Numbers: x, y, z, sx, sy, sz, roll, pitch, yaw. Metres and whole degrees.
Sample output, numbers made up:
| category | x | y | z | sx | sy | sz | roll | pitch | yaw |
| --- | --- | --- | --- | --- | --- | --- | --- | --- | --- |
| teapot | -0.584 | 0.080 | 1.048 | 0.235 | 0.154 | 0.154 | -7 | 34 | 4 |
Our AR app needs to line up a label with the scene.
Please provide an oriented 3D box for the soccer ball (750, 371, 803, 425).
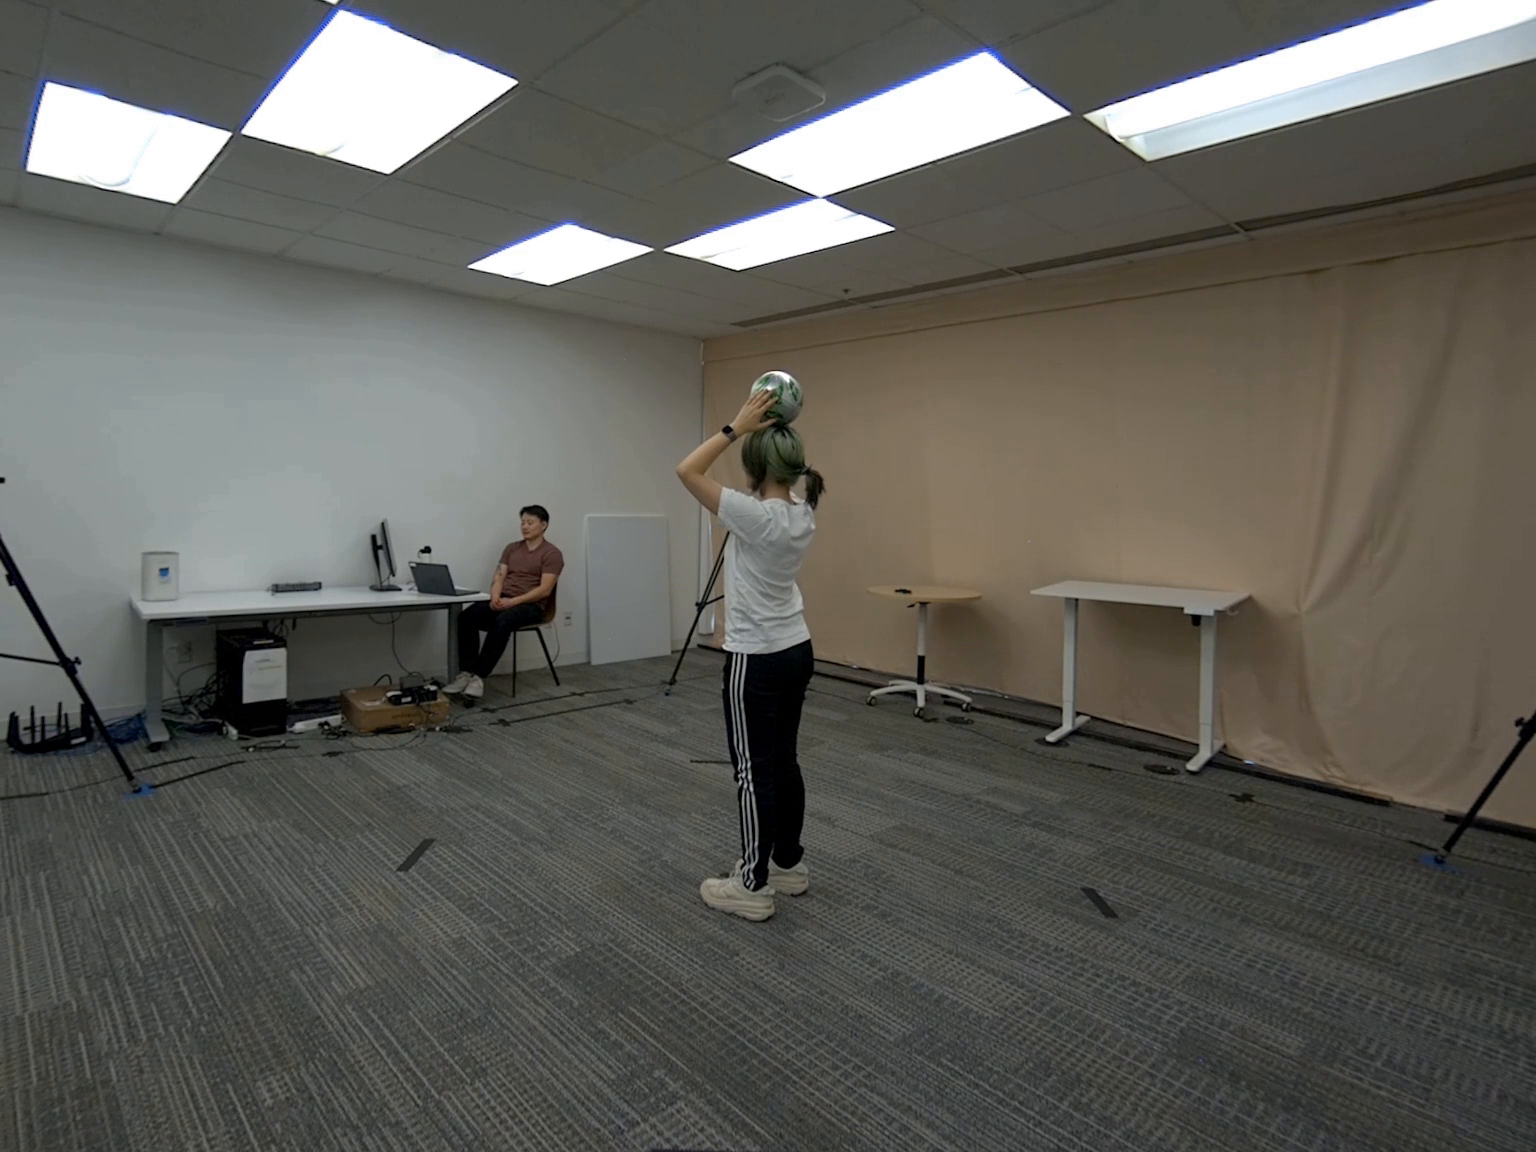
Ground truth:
| category | x | y | z | sx | sy | sz | roll | pitch | yaw |
| --- | --- | --- | --- | --- | --- | --- | --- | --- | --- |
| soccer ball | 0.023 | -0.597 | 2.844 | 0.187 | 0.187 | 0.188 | 1 | 4 | -1 |
